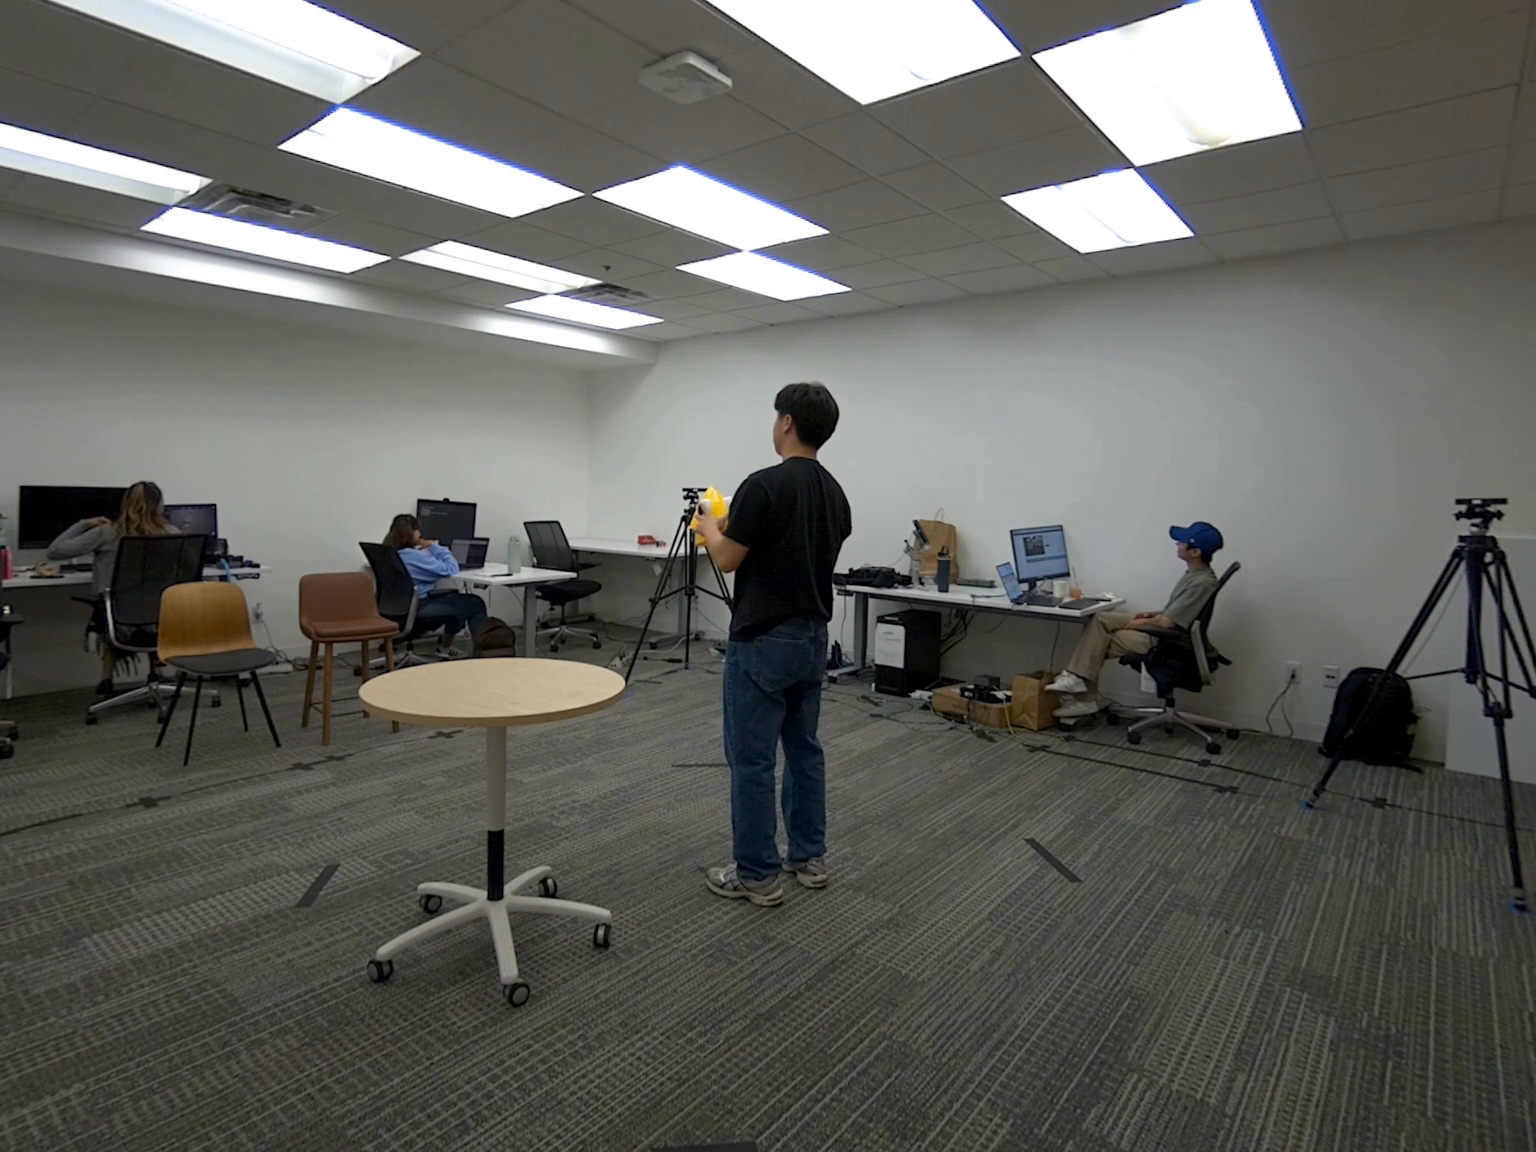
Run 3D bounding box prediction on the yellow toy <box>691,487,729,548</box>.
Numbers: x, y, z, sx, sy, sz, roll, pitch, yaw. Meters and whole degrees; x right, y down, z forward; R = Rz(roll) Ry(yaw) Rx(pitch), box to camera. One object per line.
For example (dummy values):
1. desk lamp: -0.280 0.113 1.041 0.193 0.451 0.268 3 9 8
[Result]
1. yellow toy: -0.194 -0.245 3.199 0.202 0.233 0.193 -8 -9 -15
